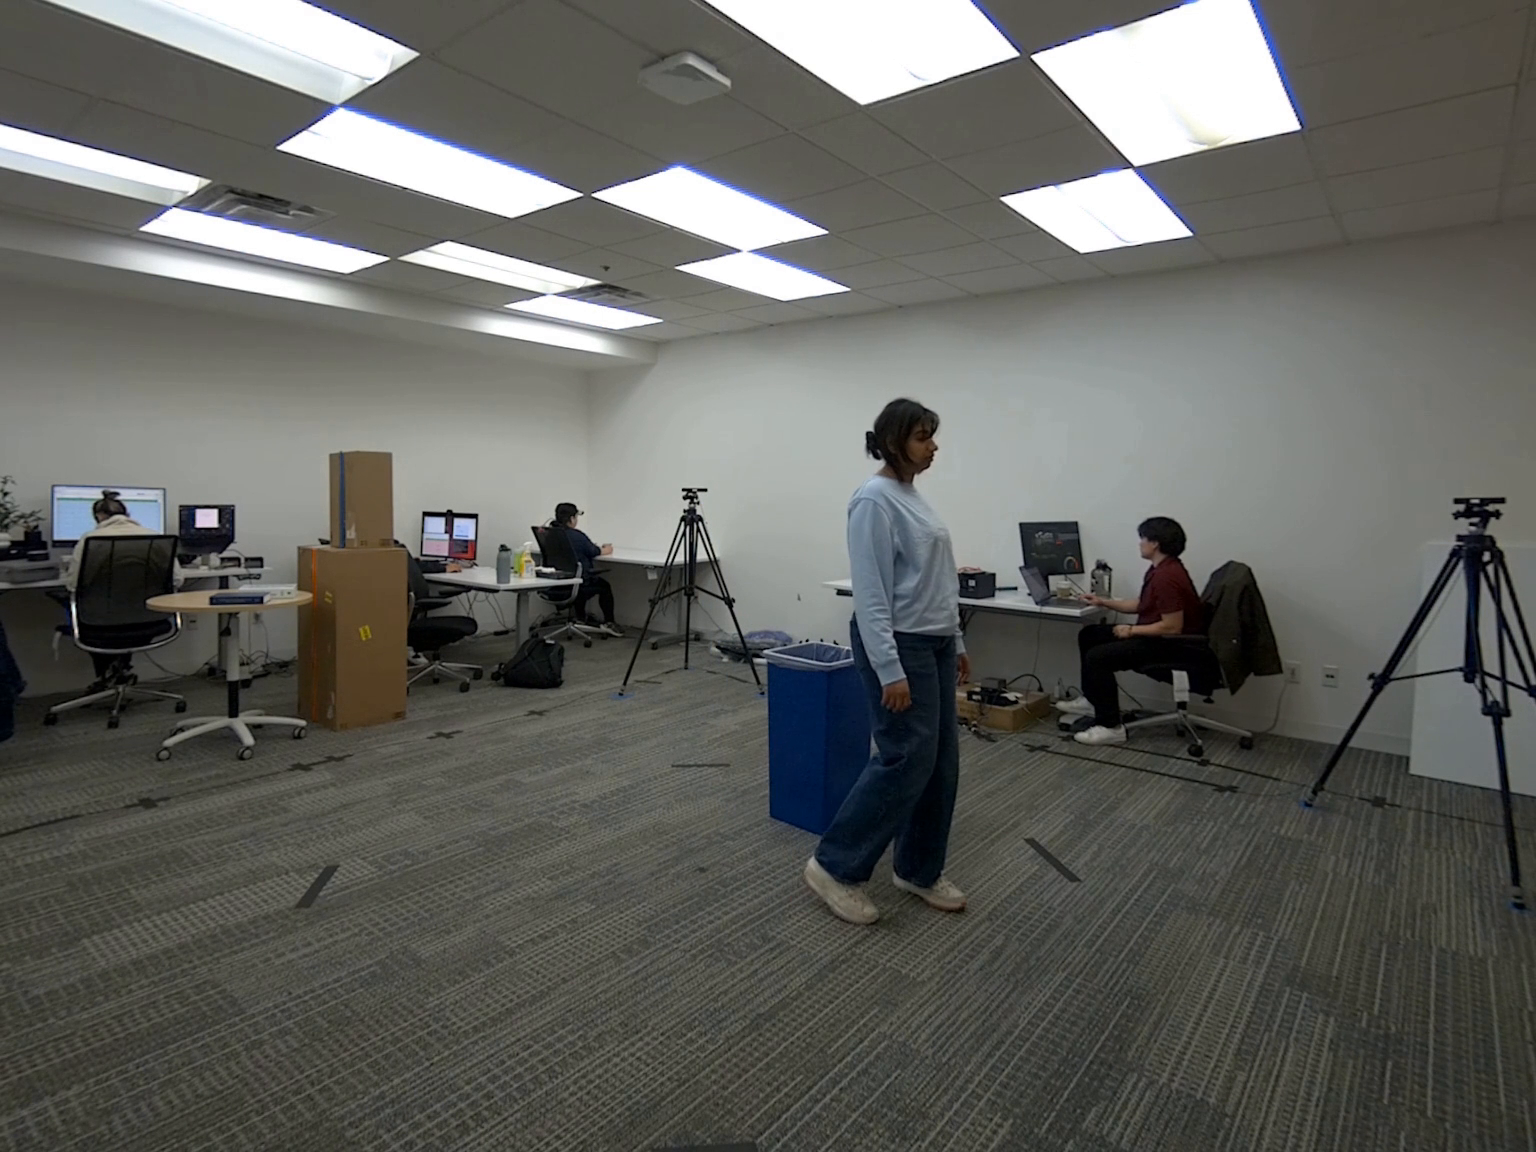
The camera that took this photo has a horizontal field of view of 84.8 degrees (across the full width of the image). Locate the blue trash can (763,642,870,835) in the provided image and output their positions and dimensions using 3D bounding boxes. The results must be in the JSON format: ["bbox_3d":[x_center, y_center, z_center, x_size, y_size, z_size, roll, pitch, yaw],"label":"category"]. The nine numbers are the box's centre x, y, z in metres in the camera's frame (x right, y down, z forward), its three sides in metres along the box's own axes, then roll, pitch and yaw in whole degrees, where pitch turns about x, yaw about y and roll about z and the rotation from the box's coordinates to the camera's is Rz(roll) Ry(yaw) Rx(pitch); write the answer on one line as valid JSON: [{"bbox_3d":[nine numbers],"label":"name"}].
[{"bbox_3d":[0.204,0.671,3.608,0.391,0.711,0.363,4,5,43],"label":"blue trash can"}]
